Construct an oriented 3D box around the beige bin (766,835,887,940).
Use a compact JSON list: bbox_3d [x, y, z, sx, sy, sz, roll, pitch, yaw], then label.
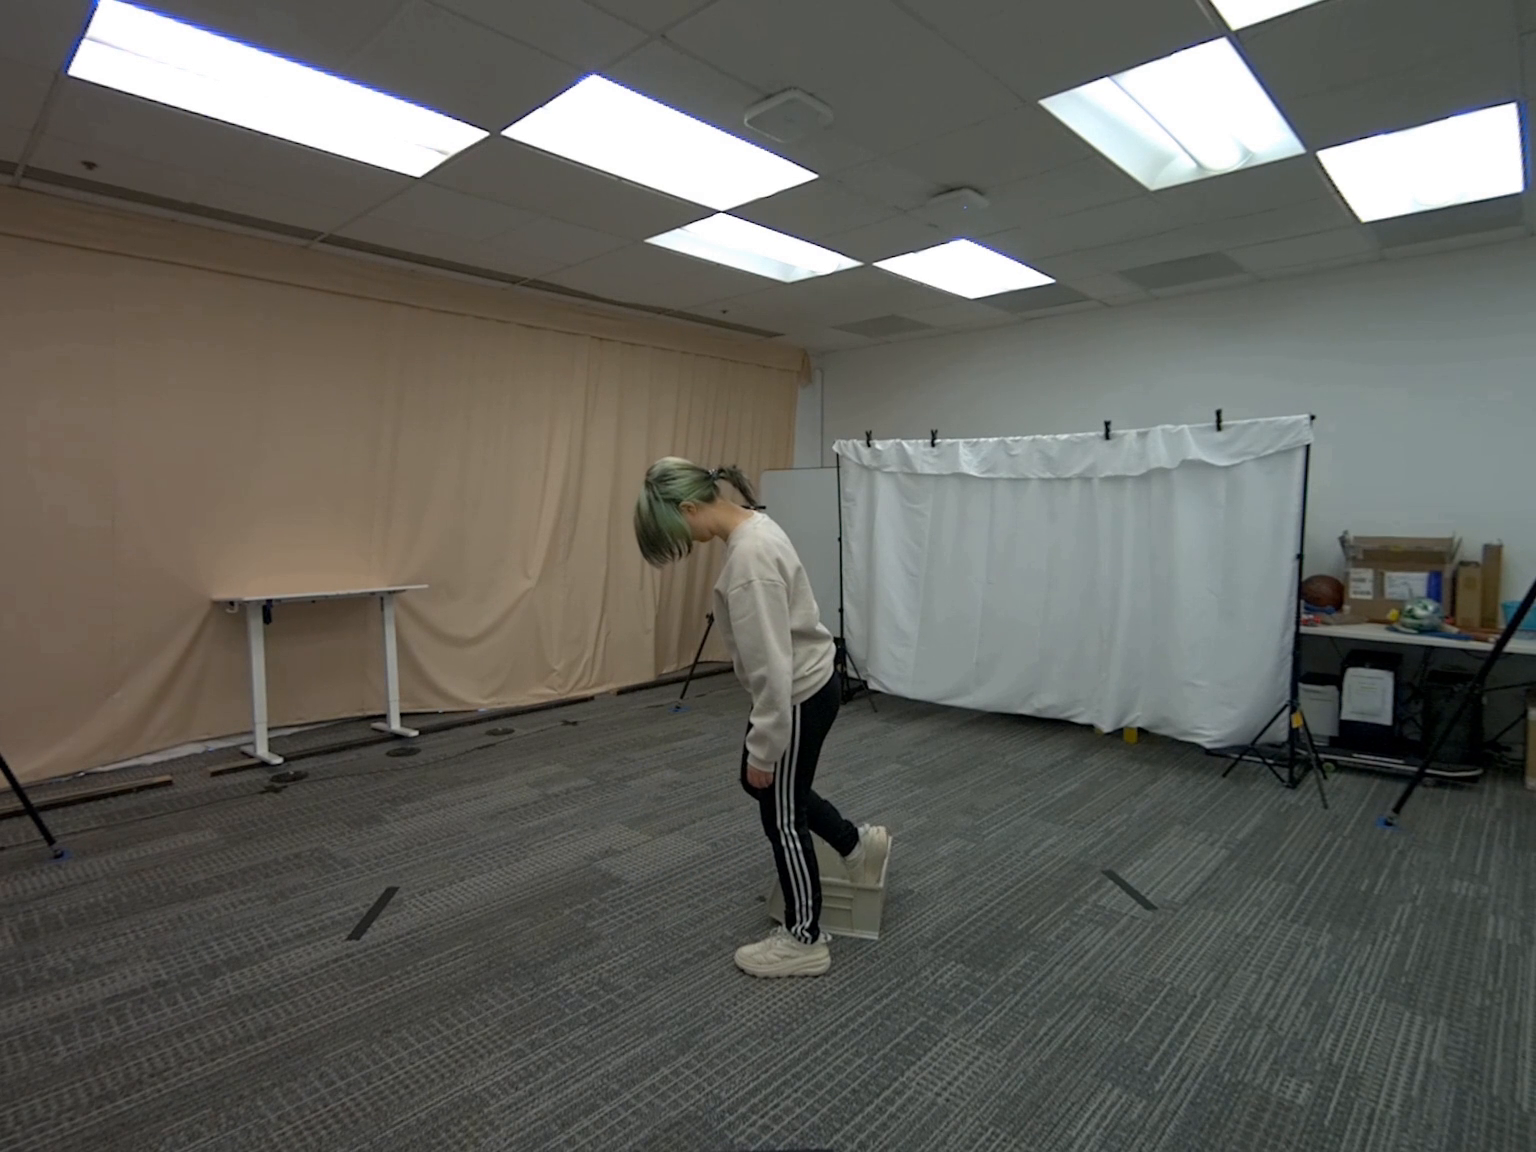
[{"bbox_3d":[0.231,1.057,2.934,0.383,0.188,0.417,1,6,14],"label":"beige bin"}]
